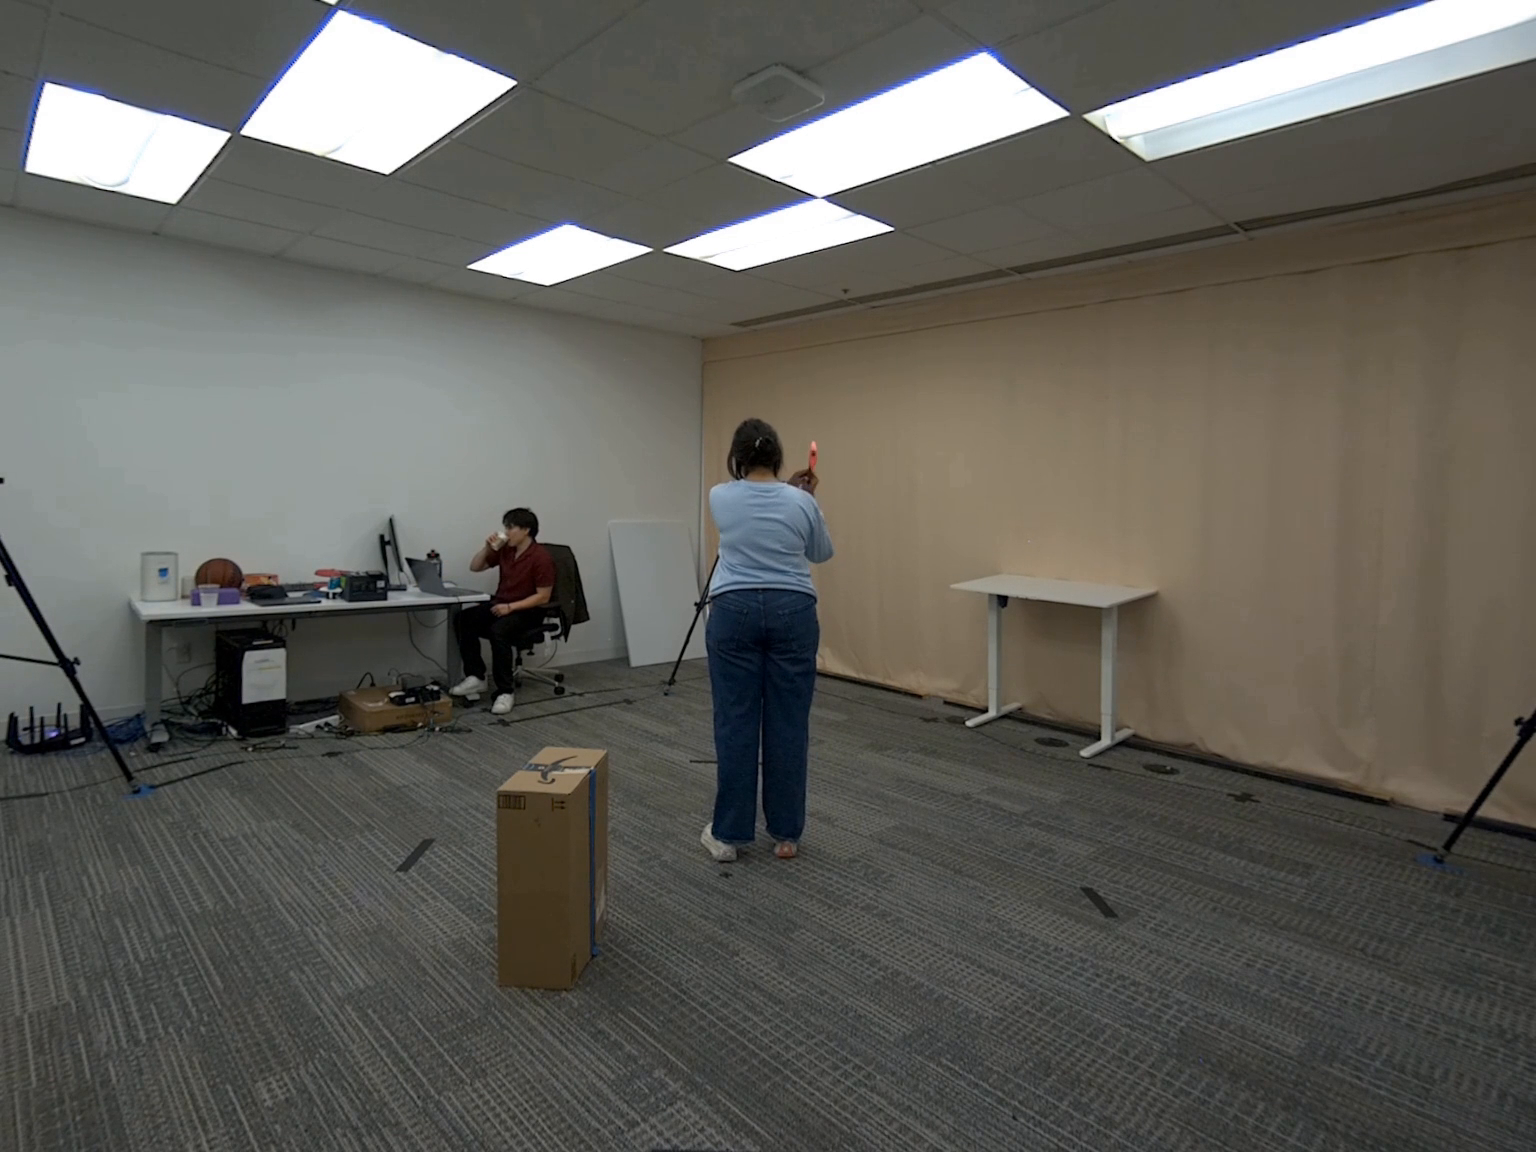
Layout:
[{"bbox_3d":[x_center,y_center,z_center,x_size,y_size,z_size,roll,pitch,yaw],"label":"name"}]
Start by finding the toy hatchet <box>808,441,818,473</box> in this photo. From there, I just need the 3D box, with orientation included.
[{"bbox_3d":[0.154,-0.462,3.348,0.029,0.131,0.270,8,-6,-7],"label":"toy hatchet"}]
